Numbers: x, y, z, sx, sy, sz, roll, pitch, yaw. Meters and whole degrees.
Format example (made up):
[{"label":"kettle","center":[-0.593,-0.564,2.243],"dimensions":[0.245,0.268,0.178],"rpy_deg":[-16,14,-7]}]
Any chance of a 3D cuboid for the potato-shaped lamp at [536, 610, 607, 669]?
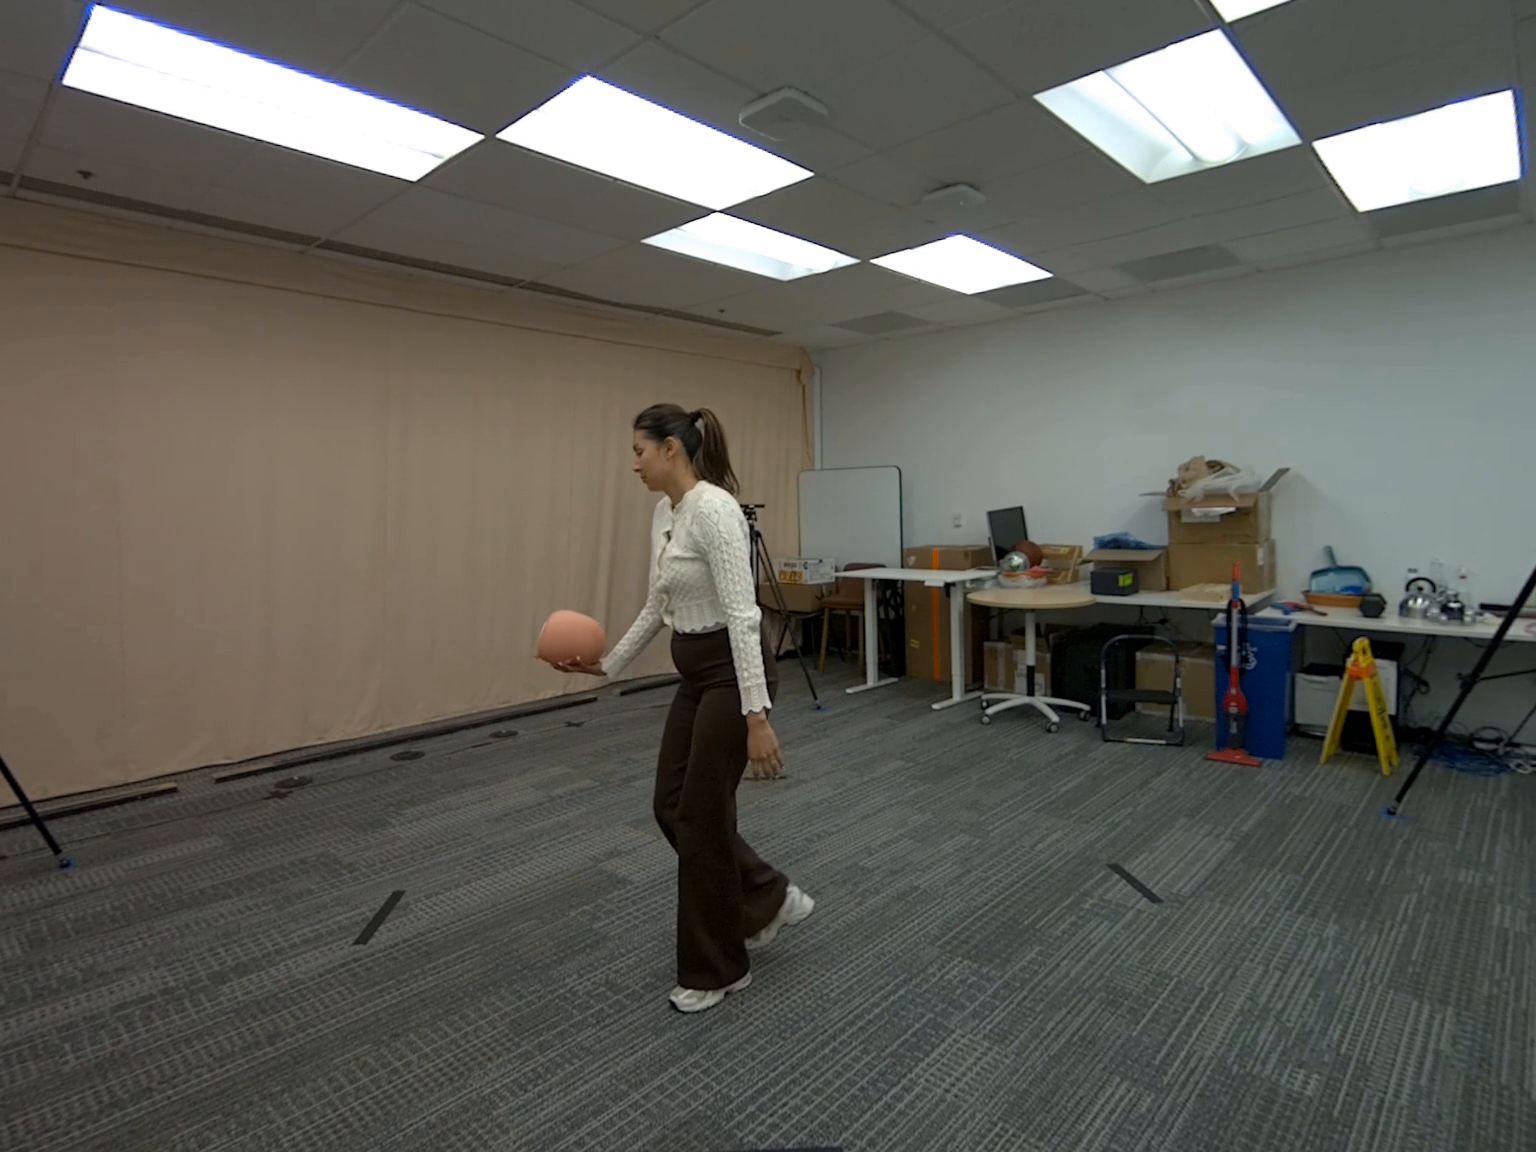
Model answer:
[{"label":"potato-shaped lamp","center":[-0.600,0.209,2.572],"dimensions":[0.198,0.171,0.165],"rpy_deg":[19,11,-3]}]
